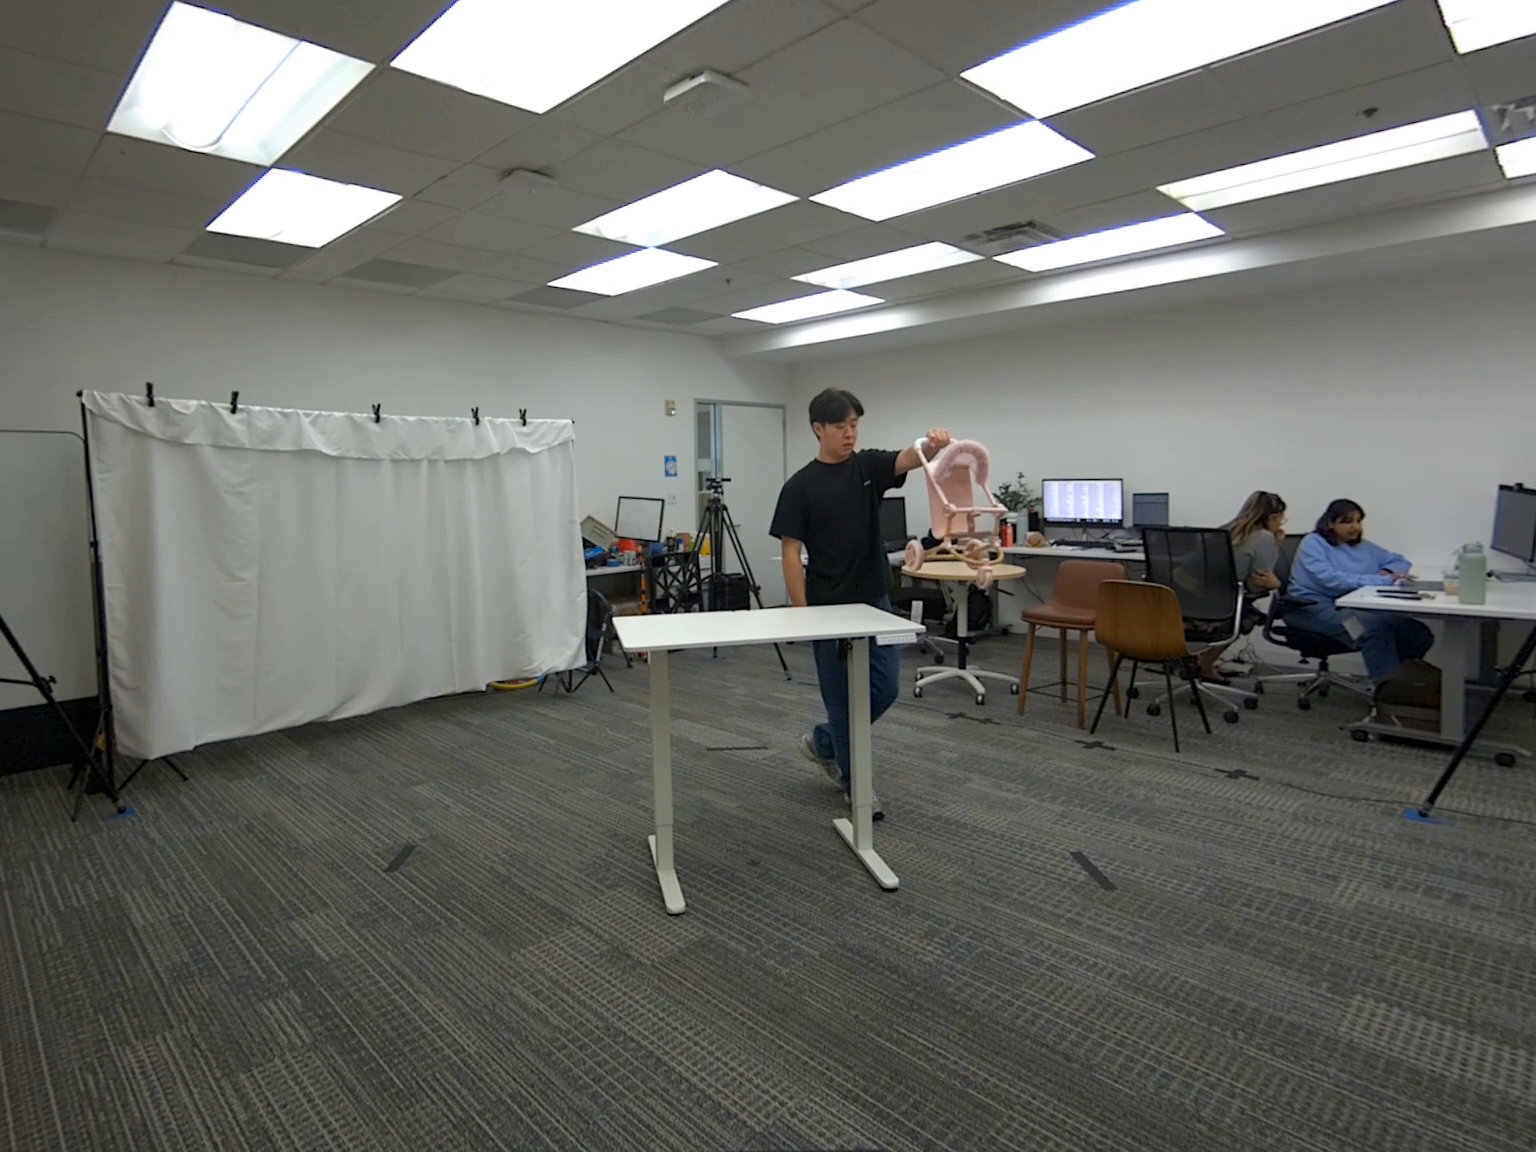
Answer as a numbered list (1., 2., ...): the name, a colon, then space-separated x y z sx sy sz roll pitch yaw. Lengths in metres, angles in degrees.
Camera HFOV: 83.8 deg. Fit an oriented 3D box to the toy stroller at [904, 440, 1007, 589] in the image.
1. toy stroller: 0.663 -0.223 2.935 0.278 0.535 0.346 0 0 -15
